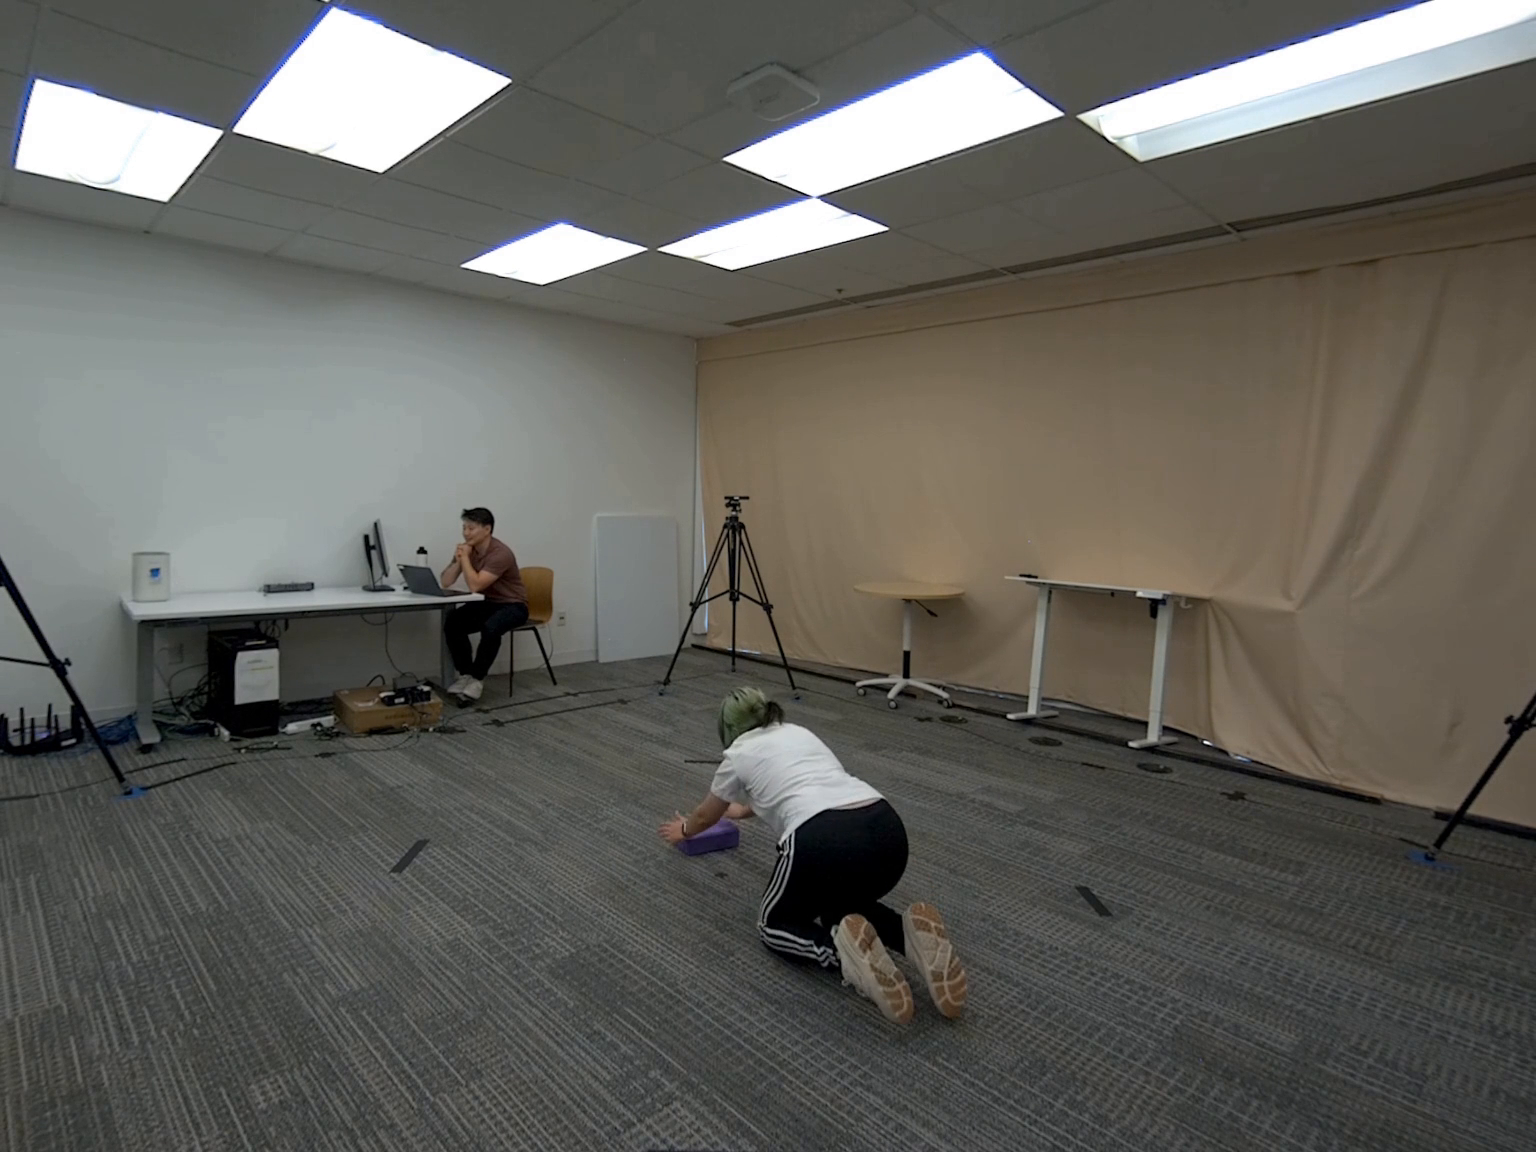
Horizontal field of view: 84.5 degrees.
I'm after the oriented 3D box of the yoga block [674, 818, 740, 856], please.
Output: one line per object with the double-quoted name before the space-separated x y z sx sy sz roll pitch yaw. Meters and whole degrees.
"yoga block" -0.253 1.036 3.367 0.225 0.076 0.152 -2 6 -30
